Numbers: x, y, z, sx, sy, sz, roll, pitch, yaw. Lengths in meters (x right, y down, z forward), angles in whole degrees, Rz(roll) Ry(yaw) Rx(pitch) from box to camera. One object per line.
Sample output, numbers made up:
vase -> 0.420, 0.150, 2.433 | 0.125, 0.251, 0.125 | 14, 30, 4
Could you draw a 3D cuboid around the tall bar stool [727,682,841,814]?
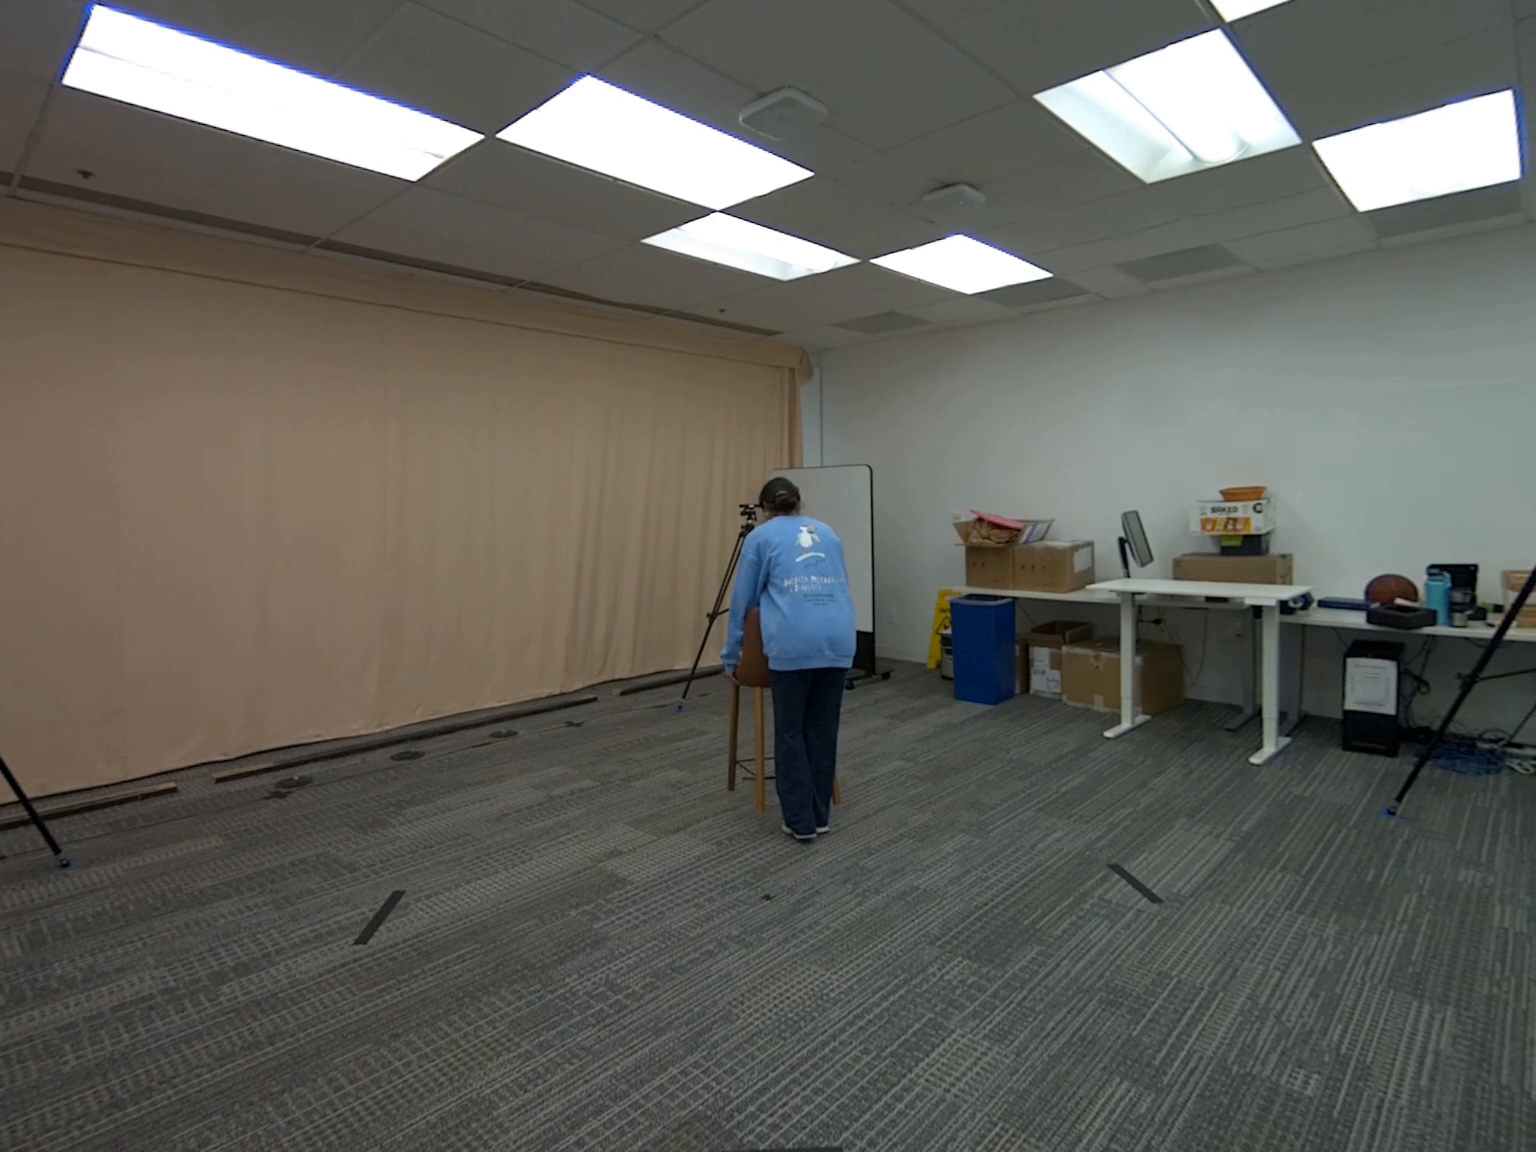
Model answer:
tall bar stool -> 0.054, 0.565, 3.813 | 0.449, 0.890, 0.475 | -1, 0, -17
